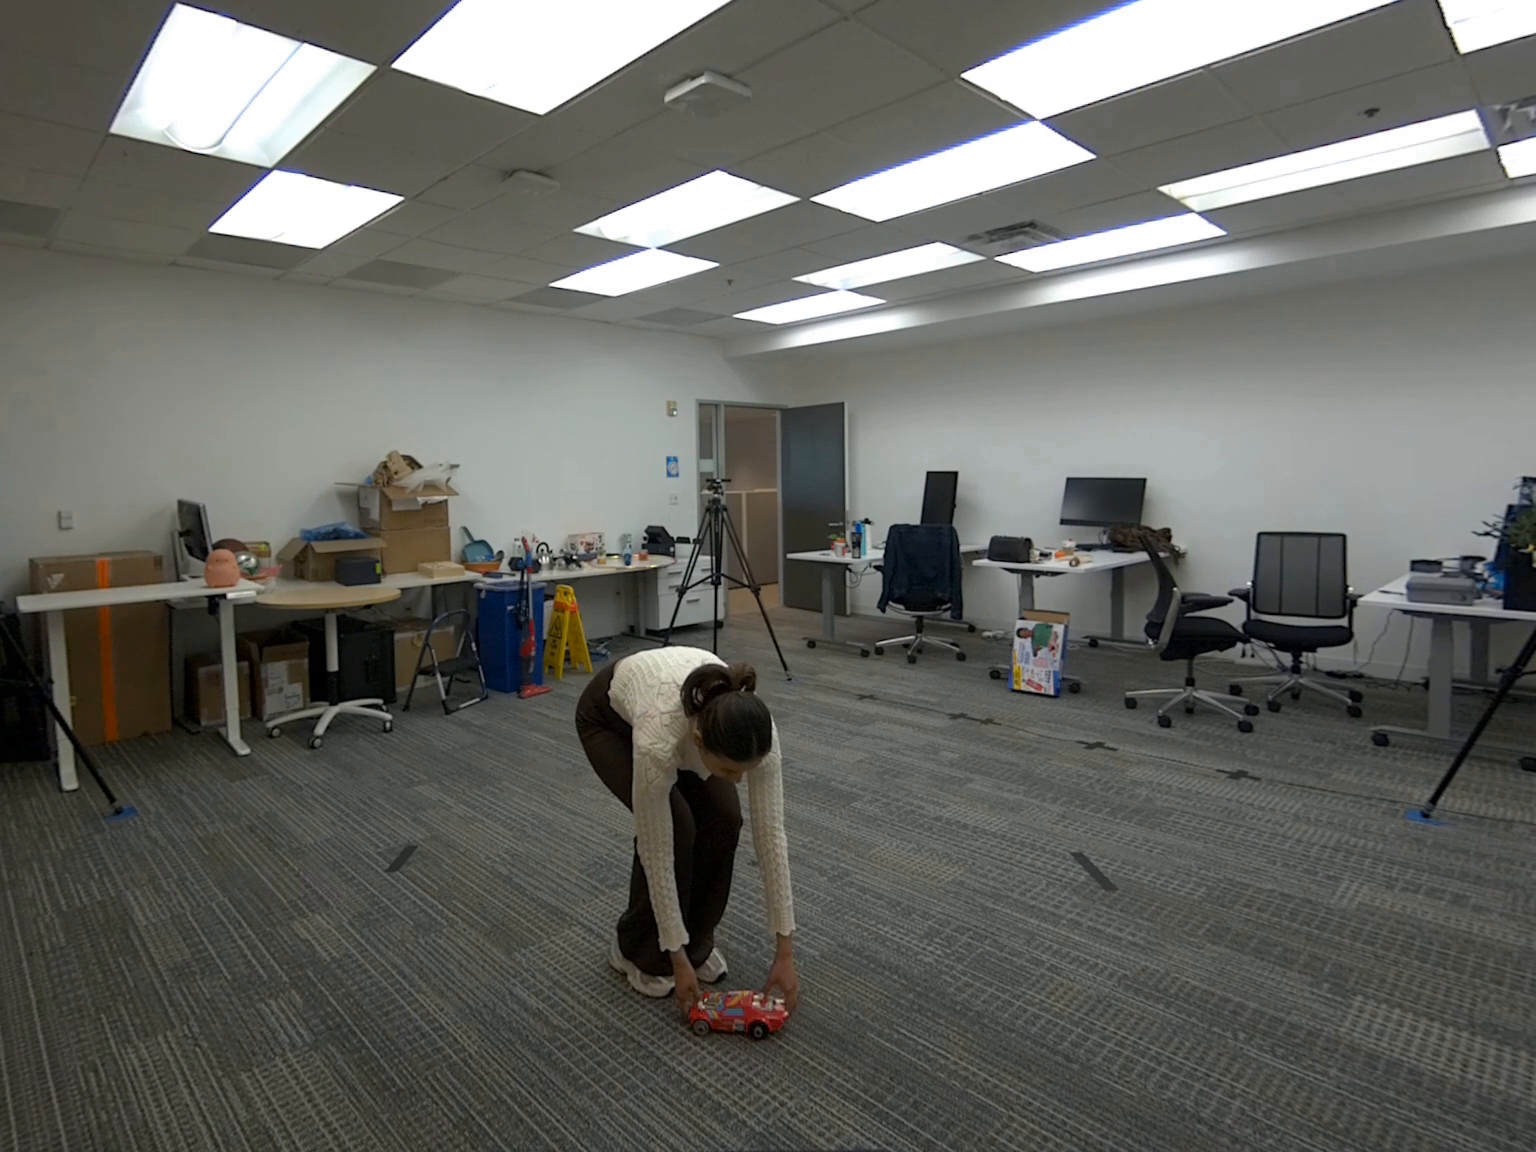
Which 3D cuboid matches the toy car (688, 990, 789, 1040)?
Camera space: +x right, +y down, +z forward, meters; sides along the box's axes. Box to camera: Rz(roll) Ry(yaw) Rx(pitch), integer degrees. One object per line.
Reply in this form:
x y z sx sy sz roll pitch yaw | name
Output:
-0.061 1.124 2.182 0.256 0.083 0.129 -11 2 10 | toy car
